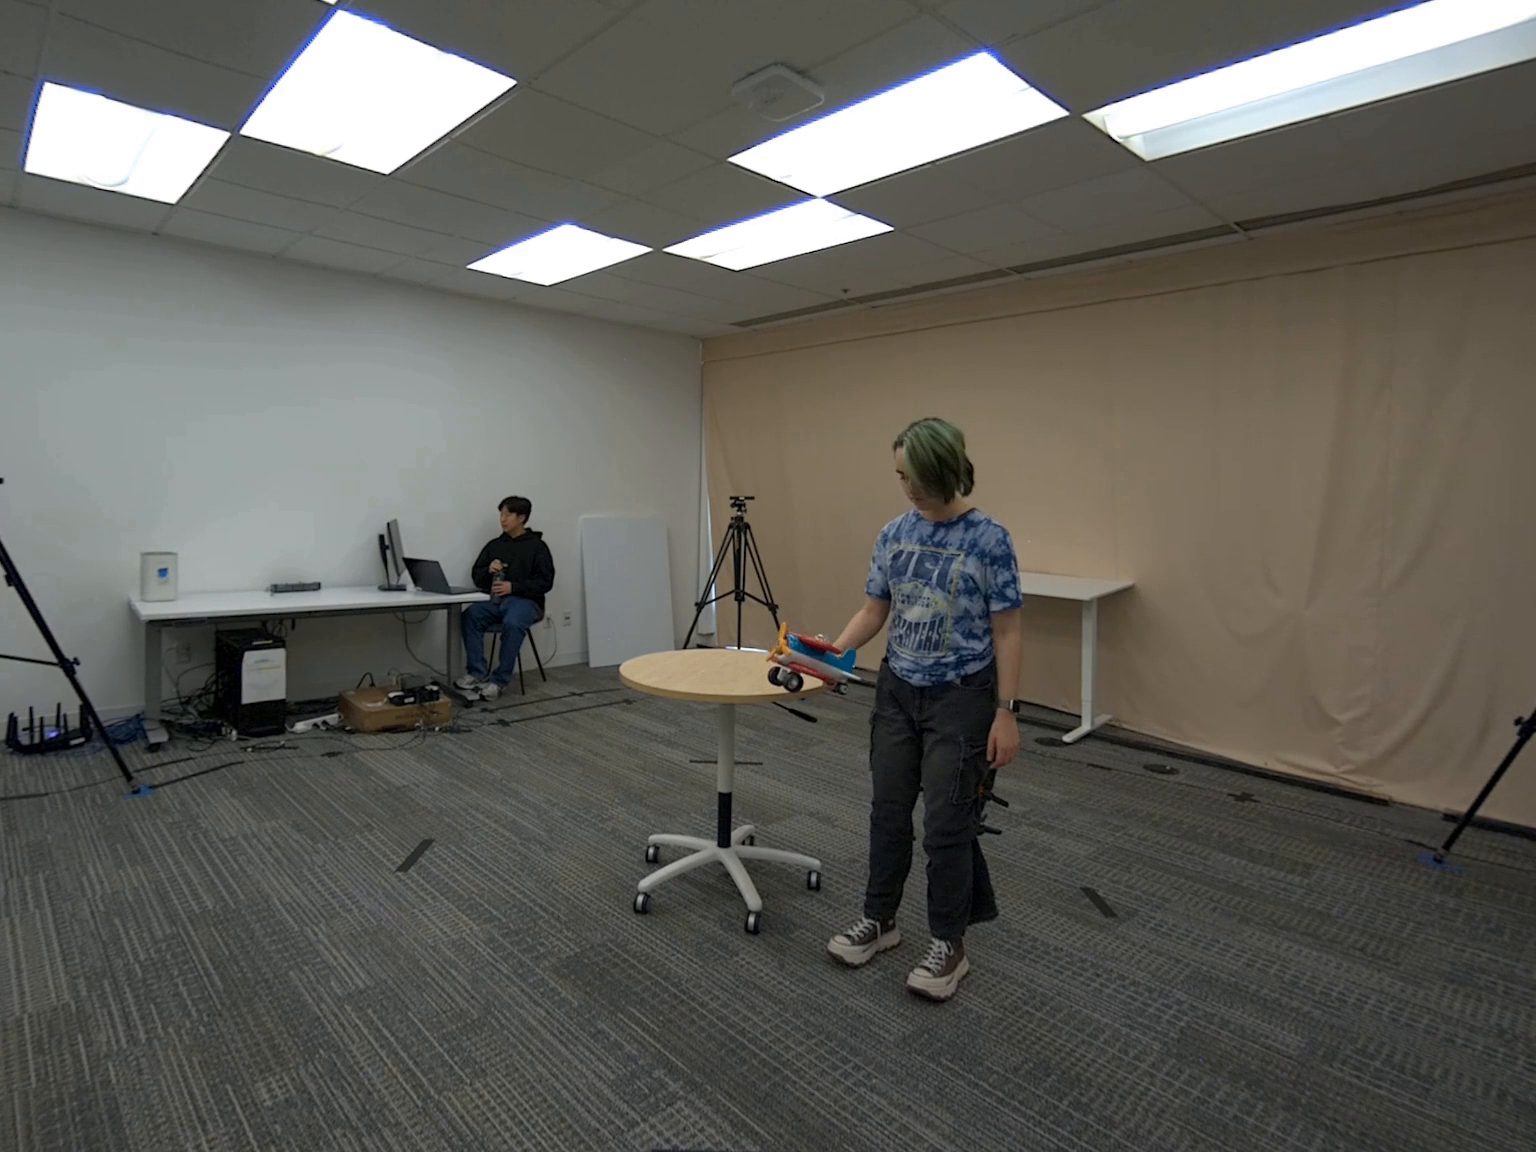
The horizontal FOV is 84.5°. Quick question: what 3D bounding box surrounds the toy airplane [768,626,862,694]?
[{"bbox_3d":[0.117,0.245,2.351,0.257,0.156,0.253,9,2,36],"label":"toy airplane"}]
